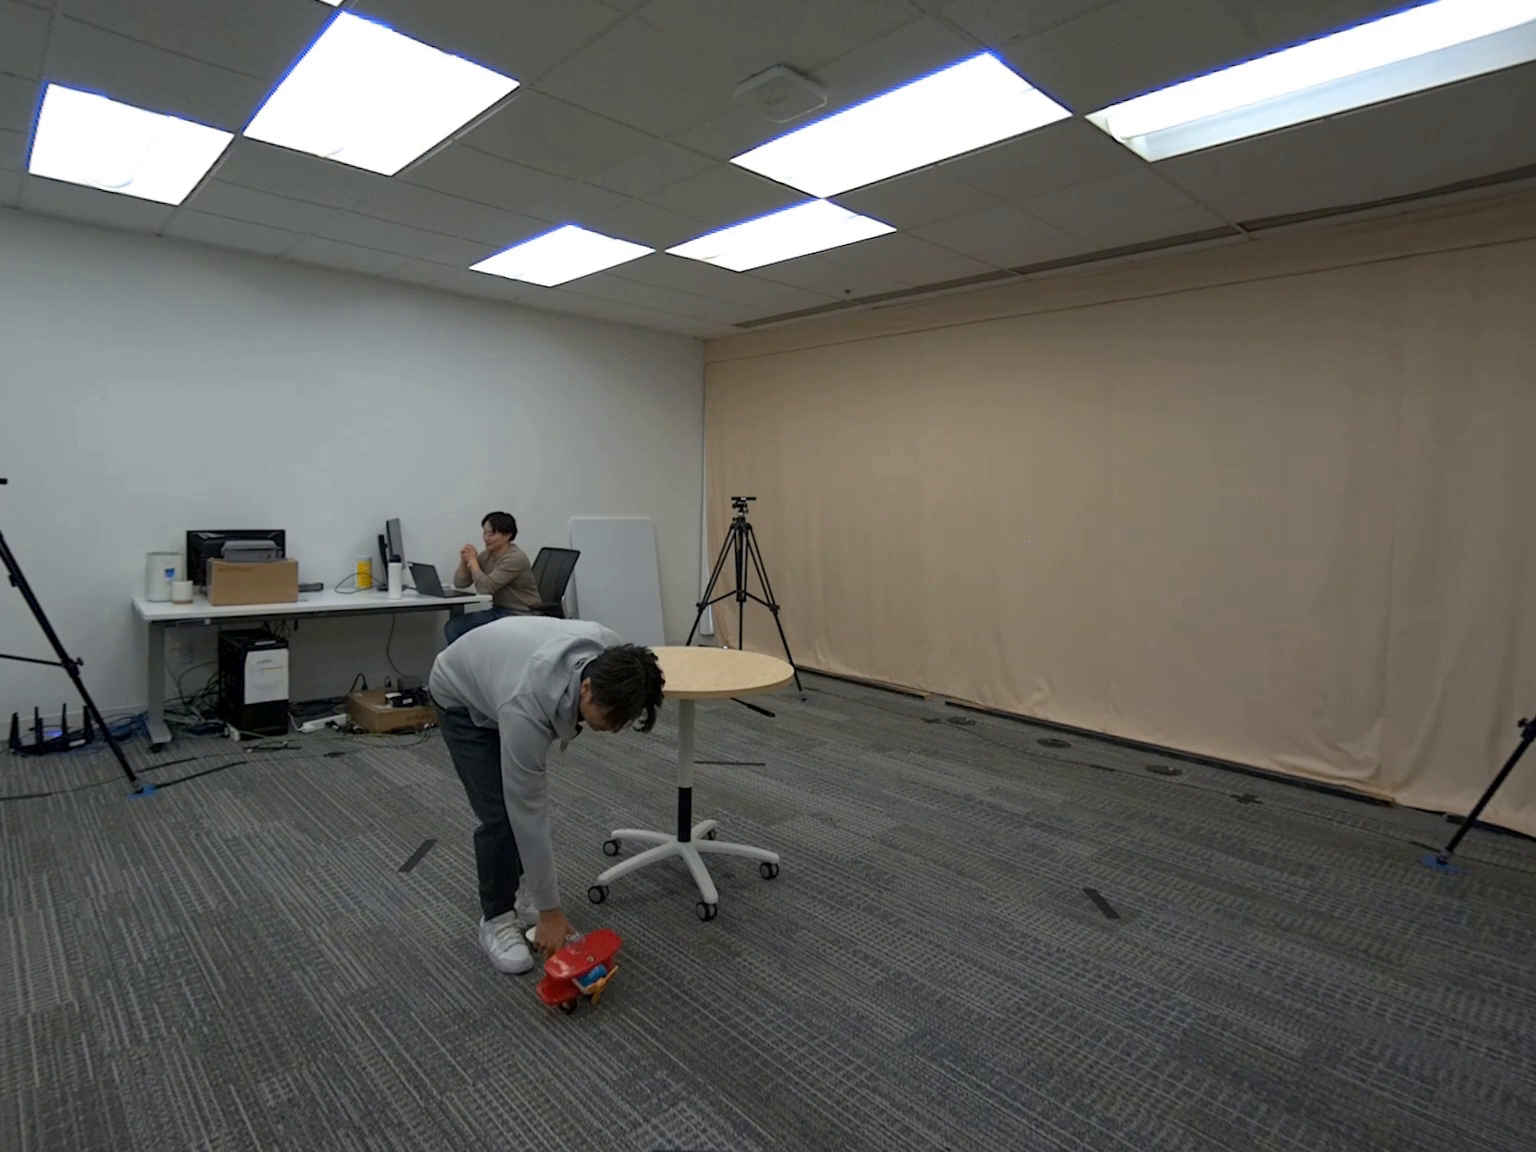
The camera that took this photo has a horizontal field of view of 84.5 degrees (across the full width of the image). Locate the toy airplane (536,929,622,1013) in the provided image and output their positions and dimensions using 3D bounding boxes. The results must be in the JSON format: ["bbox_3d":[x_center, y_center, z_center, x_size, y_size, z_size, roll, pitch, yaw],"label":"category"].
[{"bbox_3d":[-0.562,1.064,2.298,0.259,0.156,0.252,32,23,-1],"label":"toy airplane"}]
